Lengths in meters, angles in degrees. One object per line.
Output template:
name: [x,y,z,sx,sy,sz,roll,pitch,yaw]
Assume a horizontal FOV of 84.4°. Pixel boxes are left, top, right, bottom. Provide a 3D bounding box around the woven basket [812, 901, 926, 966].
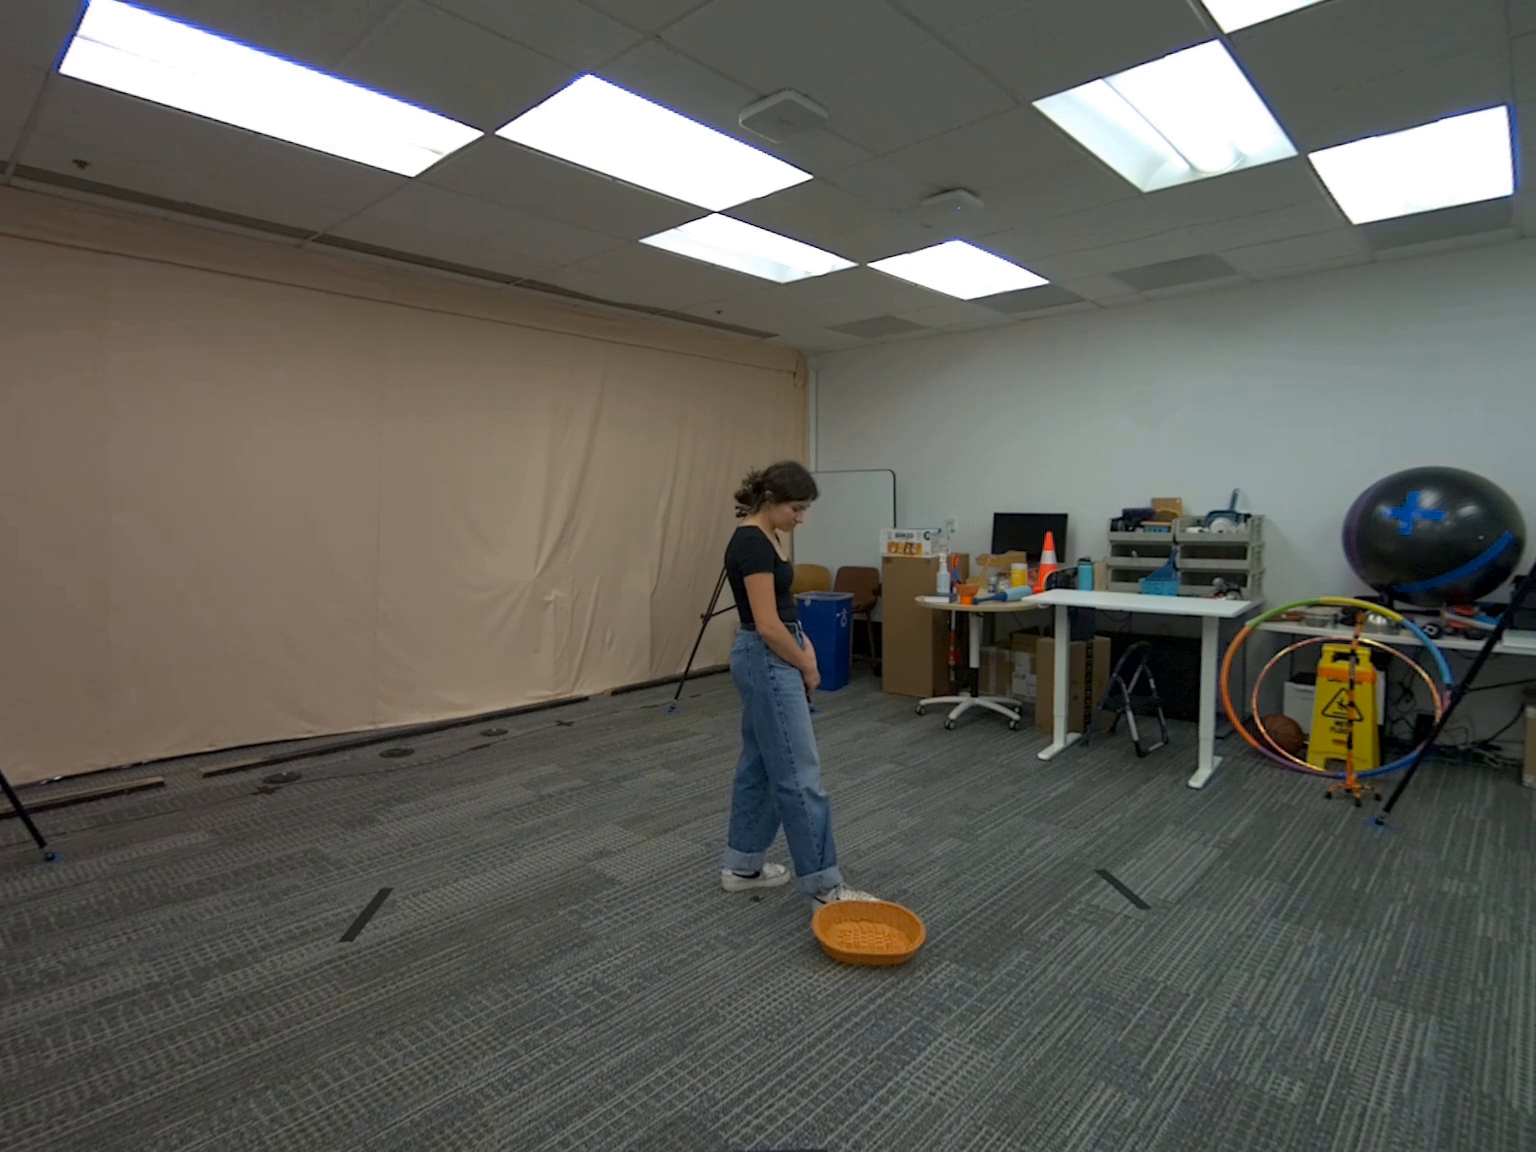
woven basket: [0.310,1.116,2.635,0.352,0.073,0.253,0,14,3]
